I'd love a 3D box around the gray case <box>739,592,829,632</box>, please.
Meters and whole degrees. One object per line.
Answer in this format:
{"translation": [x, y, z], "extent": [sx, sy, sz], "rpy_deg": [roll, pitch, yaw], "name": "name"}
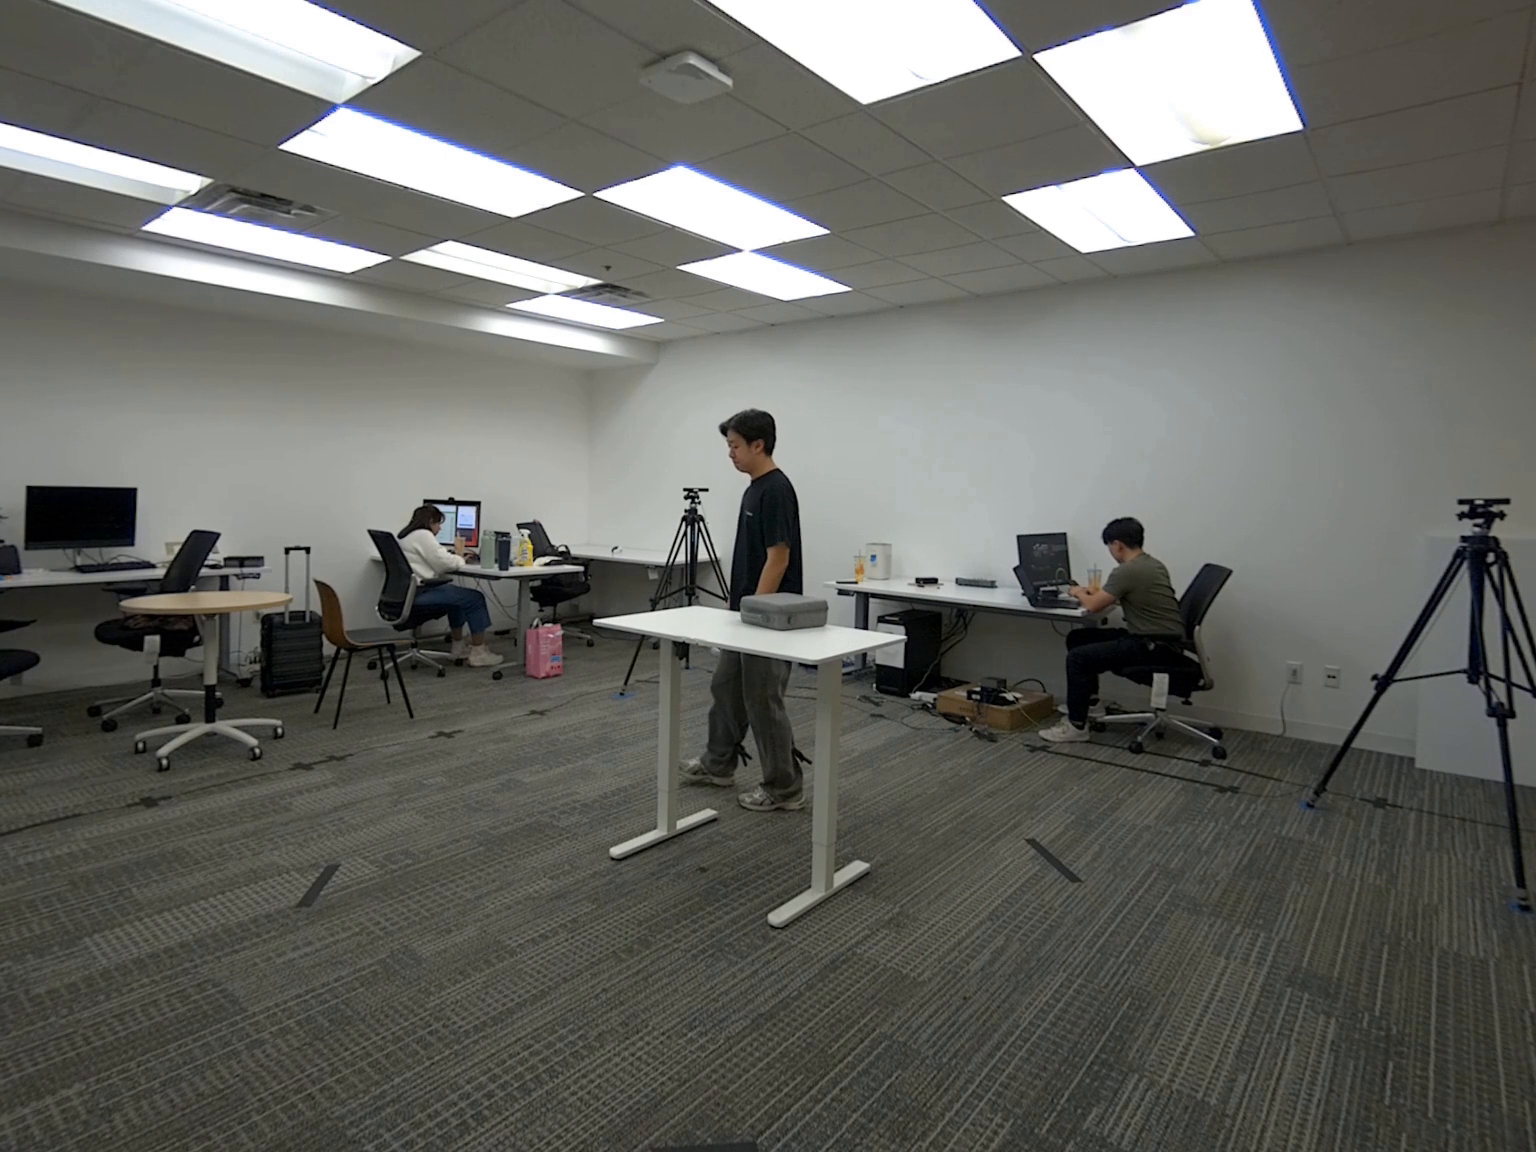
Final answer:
{"translation": [0.048, 0.127, 3.222], "extent": [0.253, 0.104, 0.266], "rpy_deg": [-4, 8, -38], "name": "gray case"}
